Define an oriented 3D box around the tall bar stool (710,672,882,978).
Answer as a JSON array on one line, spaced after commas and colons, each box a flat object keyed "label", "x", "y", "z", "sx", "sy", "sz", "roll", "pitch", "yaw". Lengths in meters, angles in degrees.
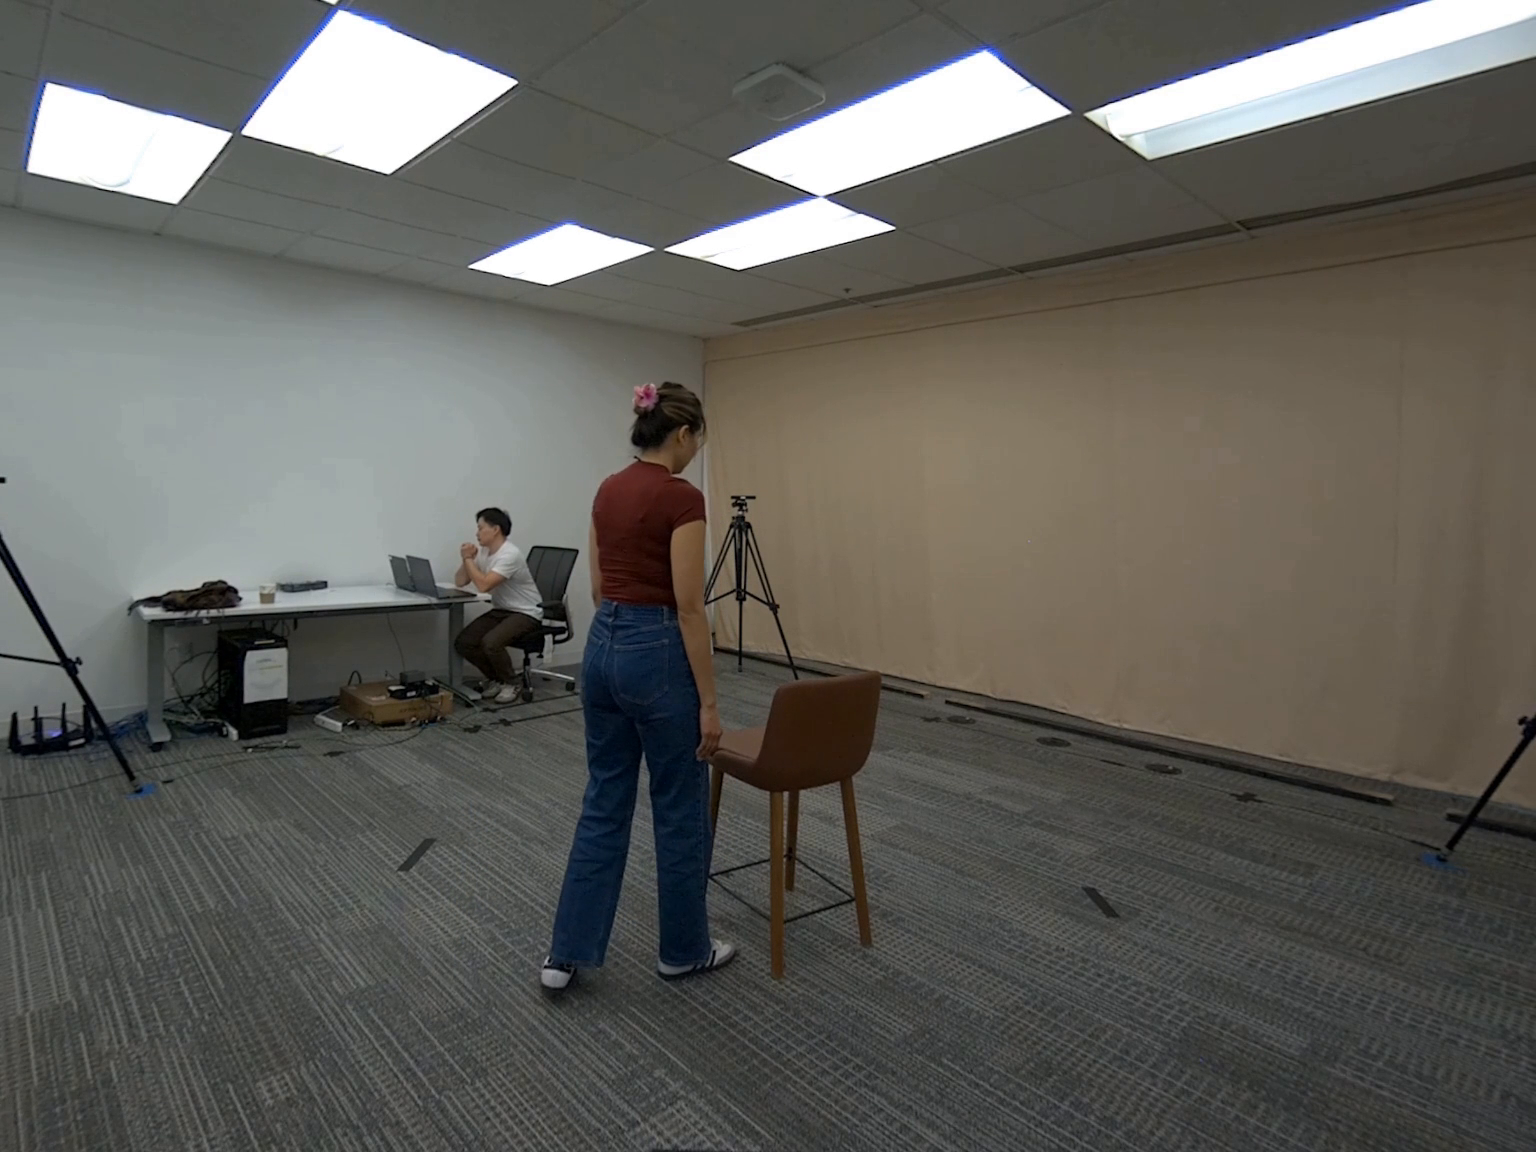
[{"label": "tall bar stool", "x": 0.056, "y": 0.712, "z": 2.688, "sx": 0.446, "sy": 0.887, "sz": 0.479, "roll": -1, "pitch": 6, "yaw": -35}]
